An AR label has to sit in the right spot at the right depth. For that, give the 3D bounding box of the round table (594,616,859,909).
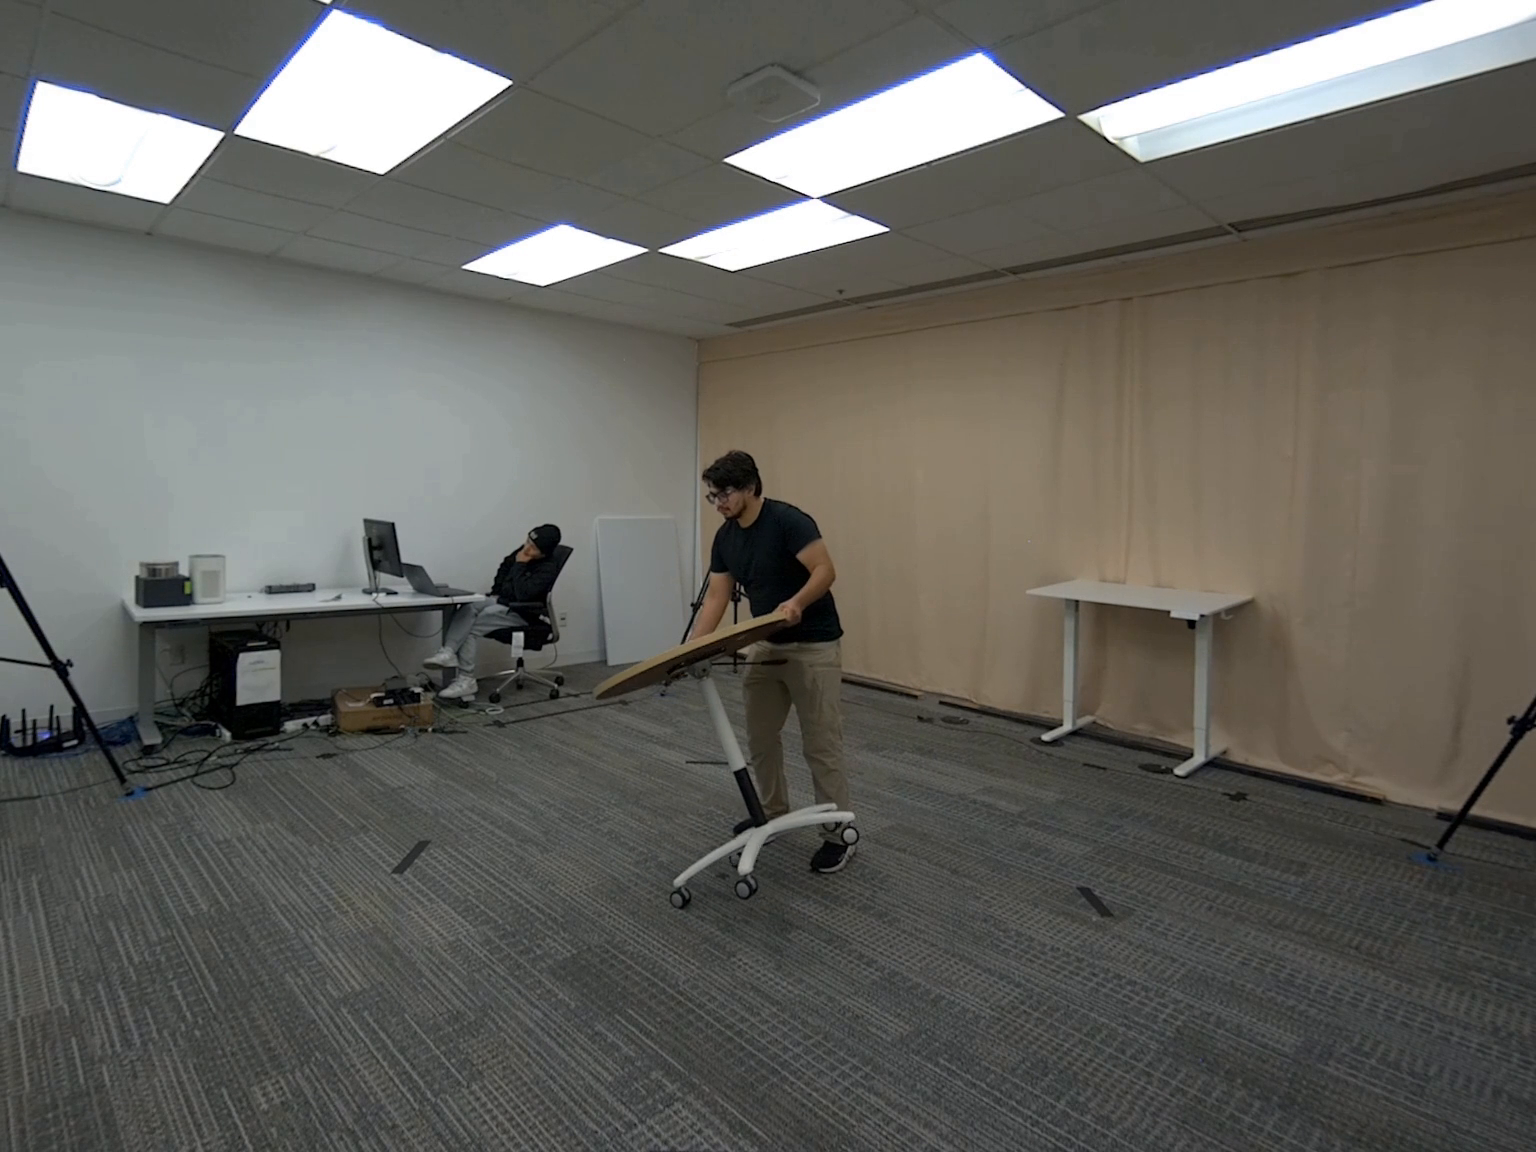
[{"bbox_3d":[-0.121,0.631,2.949,0.783,0.795,0.779,-22,-9,-5],"label":"round table"}]
